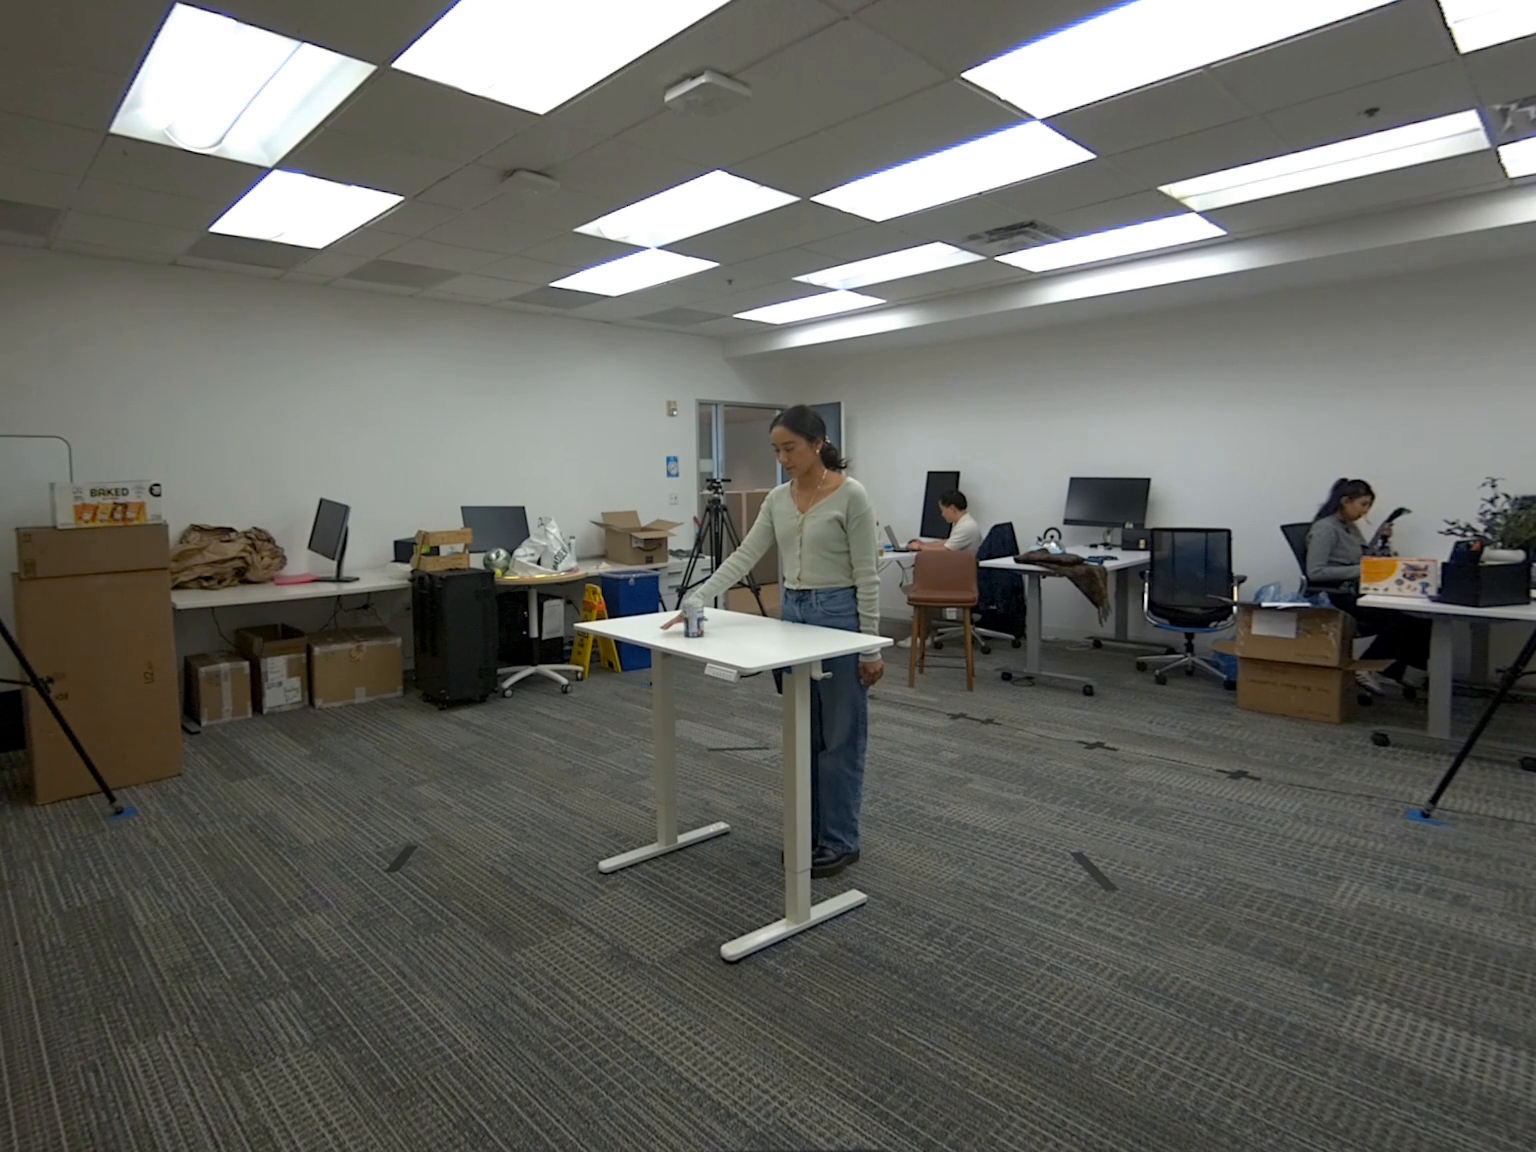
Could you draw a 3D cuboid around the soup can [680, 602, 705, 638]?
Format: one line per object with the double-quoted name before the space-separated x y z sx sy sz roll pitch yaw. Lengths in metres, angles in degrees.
"soup can" -0.241 0.143 2.801 0.067 0.121 0.067 -1 0 -2
